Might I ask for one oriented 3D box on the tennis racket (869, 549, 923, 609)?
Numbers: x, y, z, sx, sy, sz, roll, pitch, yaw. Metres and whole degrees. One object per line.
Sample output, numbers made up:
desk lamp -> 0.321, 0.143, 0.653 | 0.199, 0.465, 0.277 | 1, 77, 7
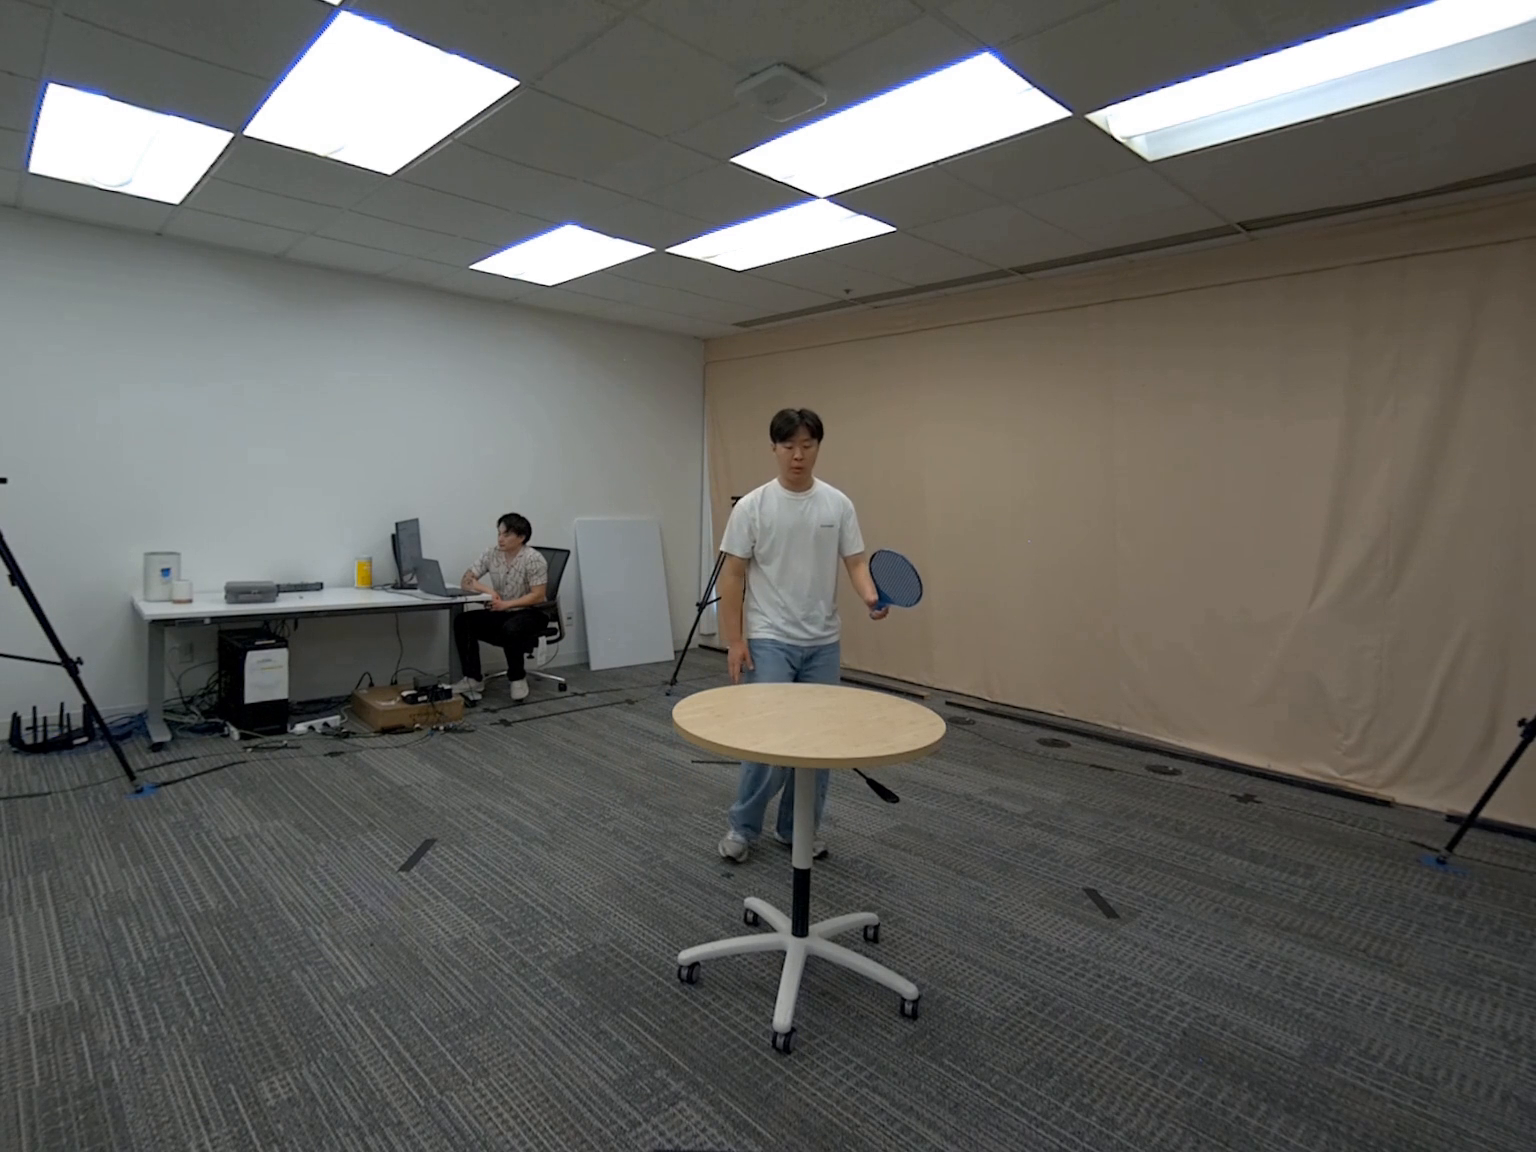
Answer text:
tennis racket -> 0.381, 0.048, 2.831 | 0.031, 0.217, 0.428 | -35, -15, -22
